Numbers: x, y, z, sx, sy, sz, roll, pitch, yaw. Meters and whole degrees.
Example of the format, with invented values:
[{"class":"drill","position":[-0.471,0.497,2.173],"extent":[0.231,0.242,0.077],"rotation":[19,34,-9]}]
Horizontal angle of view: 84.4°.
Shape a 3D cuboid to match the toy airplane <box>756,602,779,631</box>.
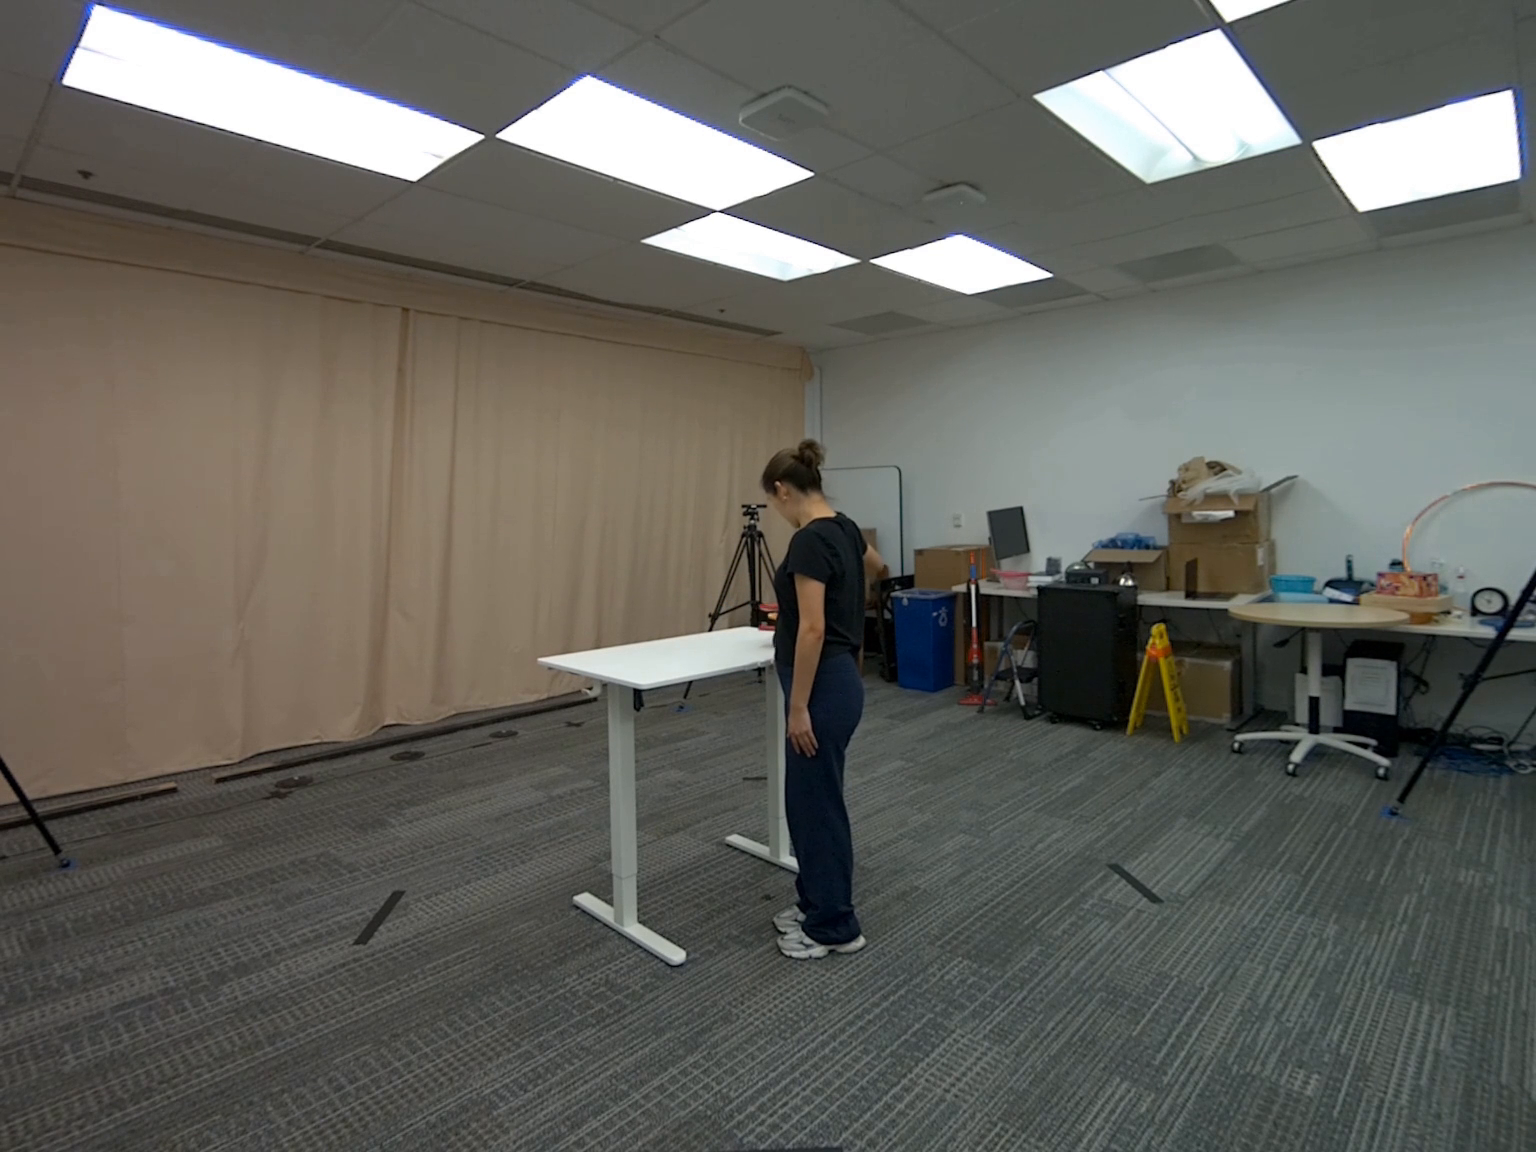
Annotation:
[{"class":"toy airplane","position":[0.106,0.172,3.061],"extent":[0.249,0.156,0.262],"rotation":[-2,5,-7]}]
